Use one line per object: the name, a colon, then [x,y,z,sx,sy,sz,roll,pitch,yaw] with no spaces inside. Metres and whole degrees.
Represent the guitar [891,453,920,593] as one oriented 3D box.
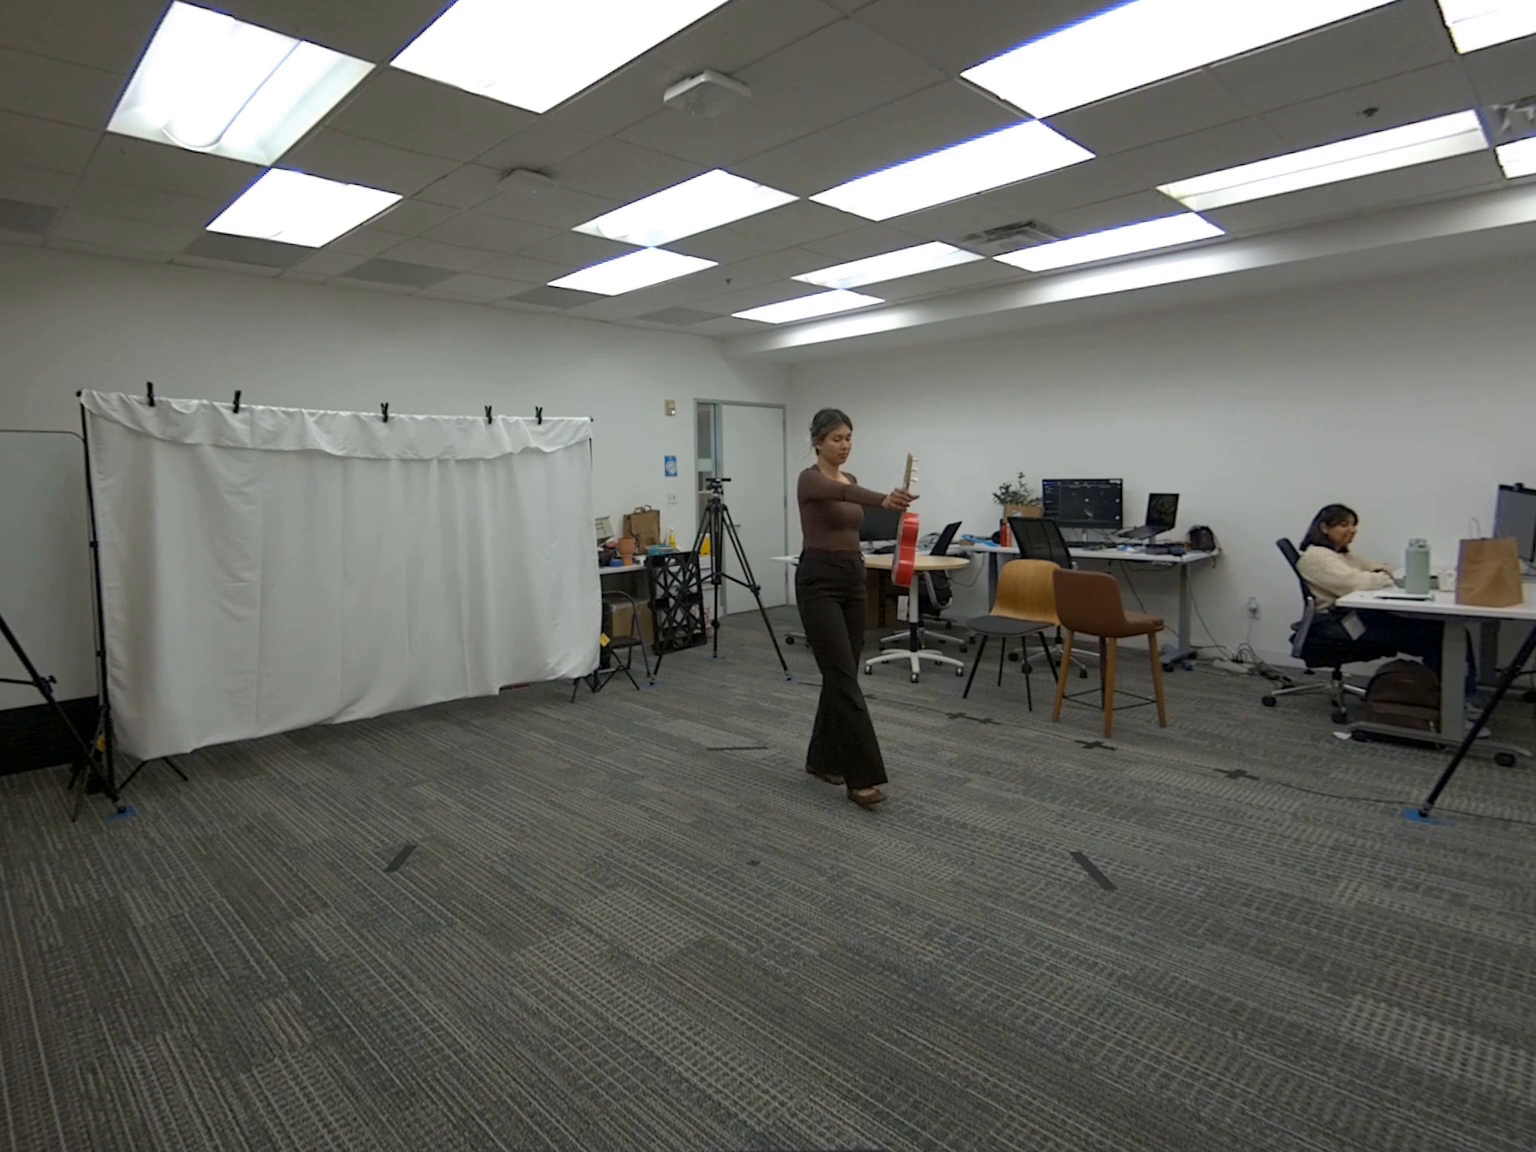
guitar: [0.527,-0.199,3.189,0.071,0.493,0.193,6,11,5]
